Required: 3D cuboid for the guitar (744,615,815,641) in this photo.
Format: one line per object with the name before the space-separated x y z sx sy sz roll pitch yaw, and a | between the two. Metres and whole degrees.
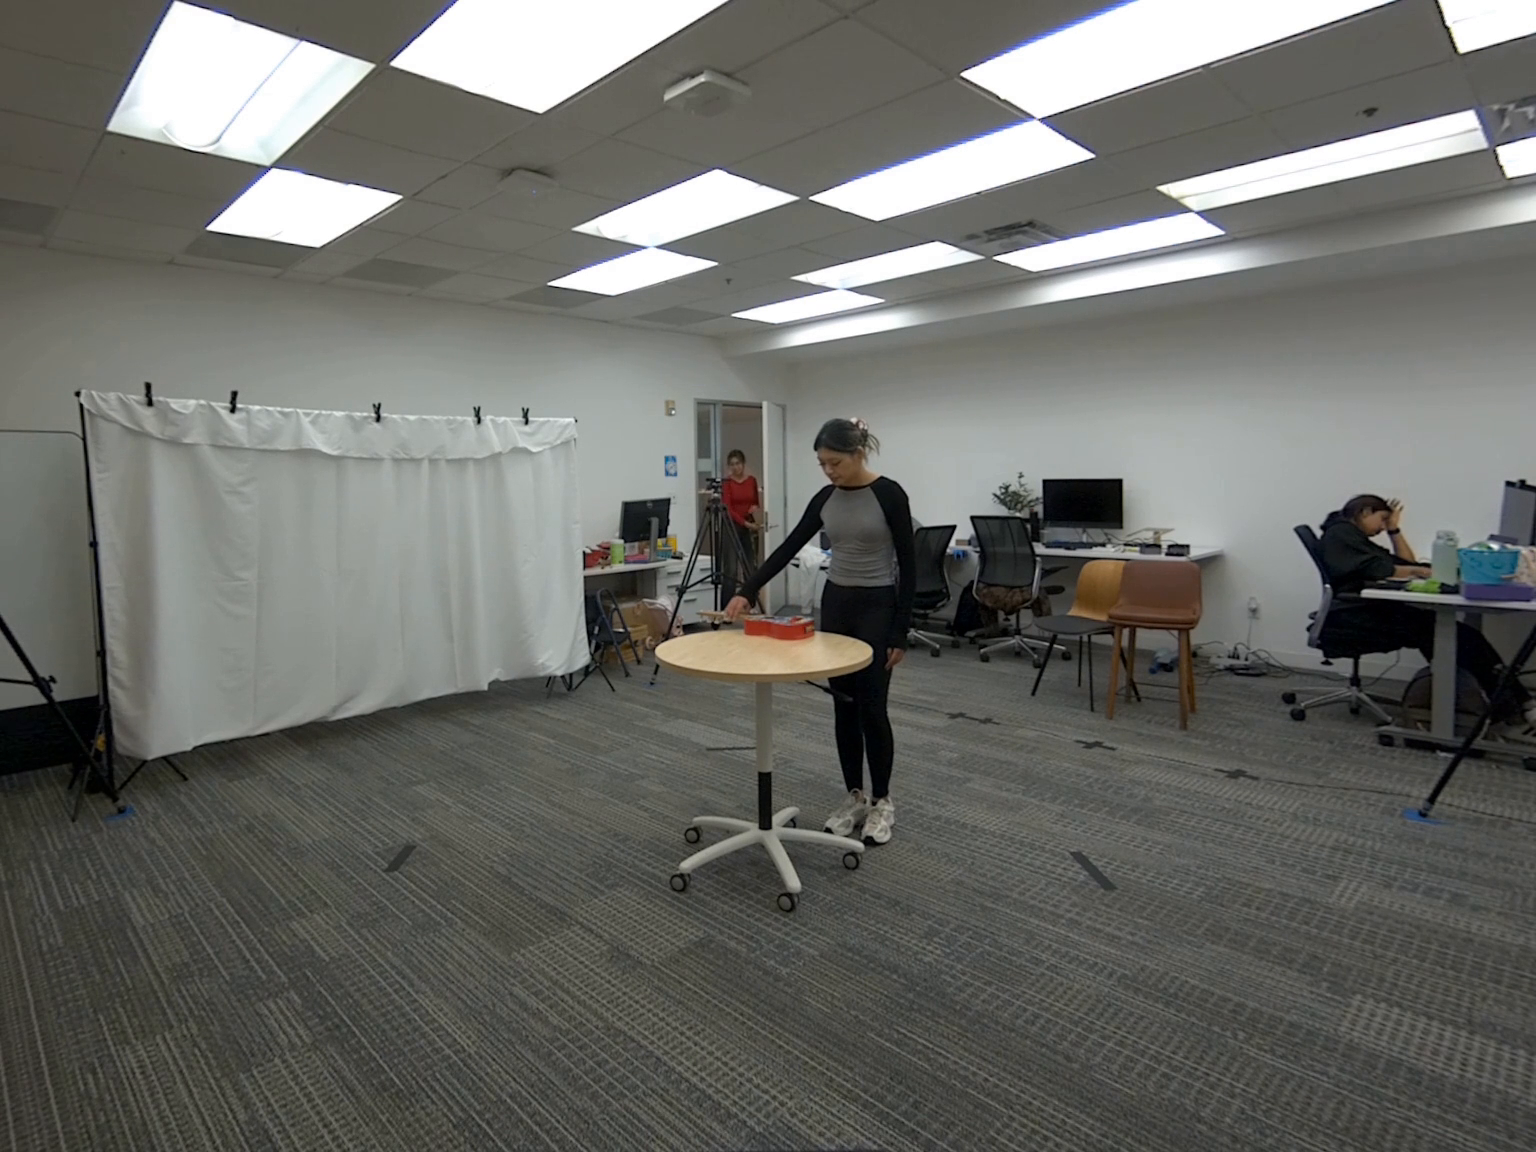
guitar | -0.046 0.183 3.373 0.513 0.070 0.188 5 8 39
